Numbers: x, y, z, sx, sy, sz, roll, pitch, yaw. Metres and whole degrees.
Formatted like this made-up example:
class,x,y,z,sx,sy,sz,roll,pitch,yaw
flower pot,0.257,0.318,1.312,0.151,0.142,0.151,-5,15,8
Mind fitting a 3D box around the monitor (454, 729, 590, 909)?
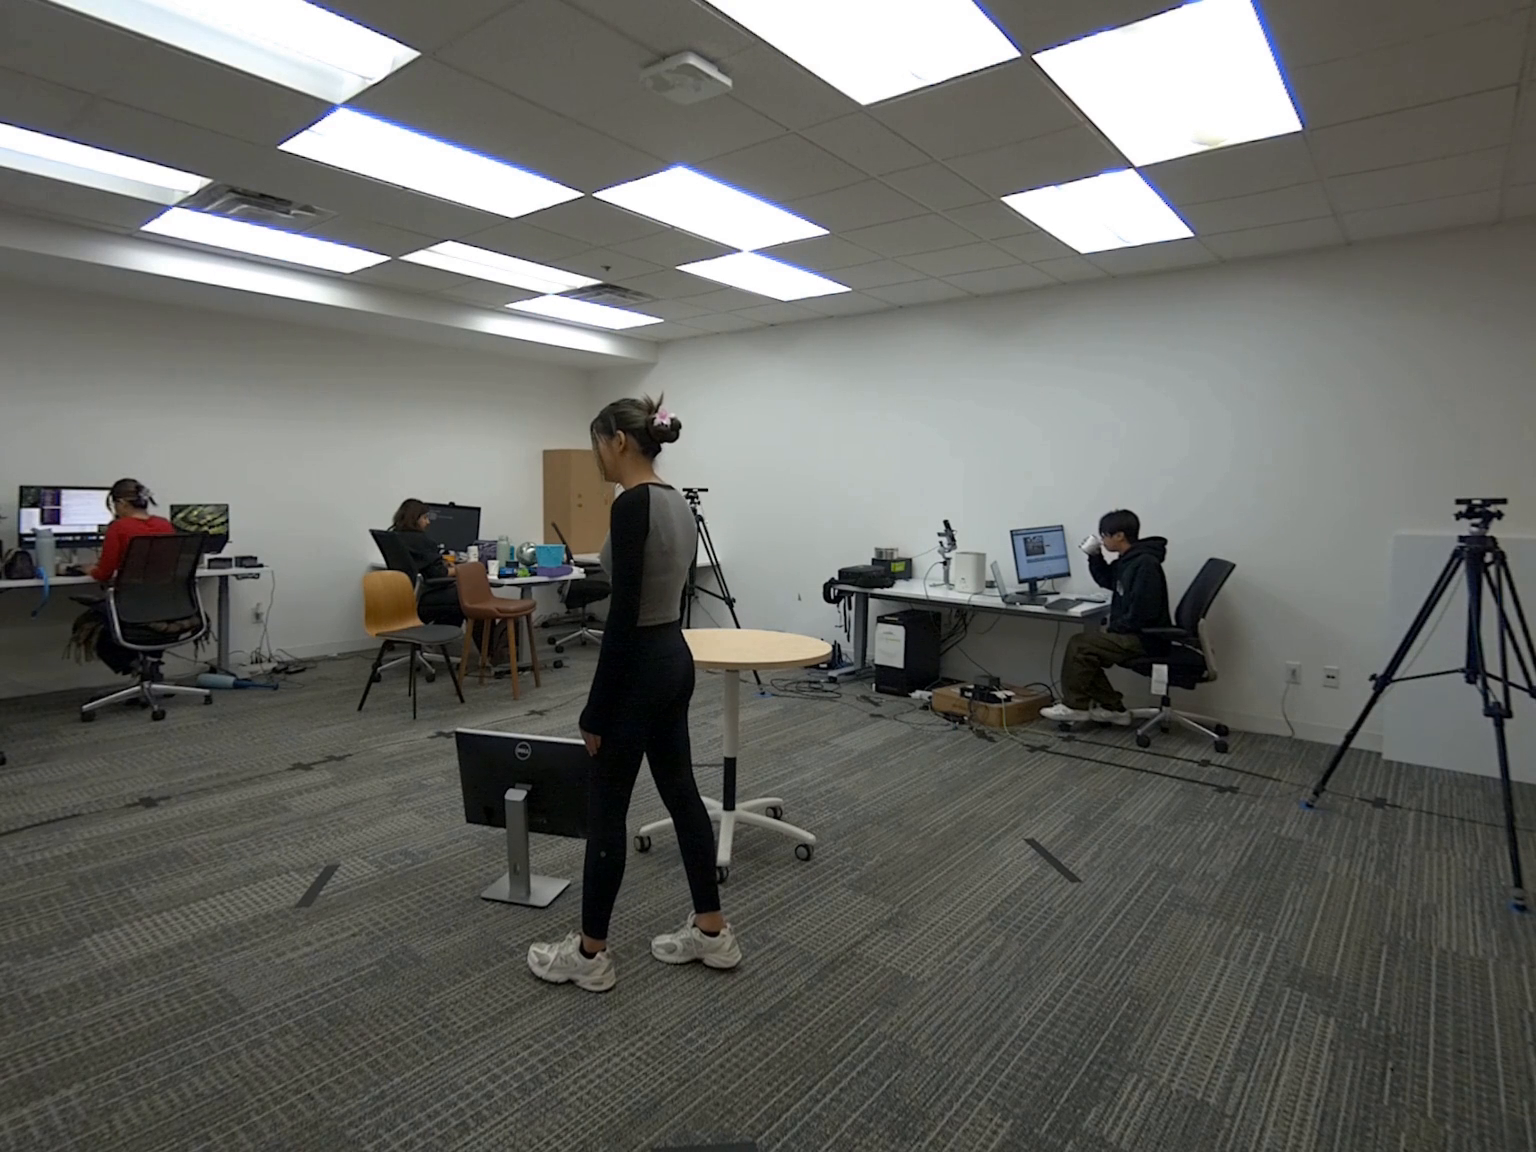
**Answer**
class,x,y,z,sx,sy,sz,roll,pitch,yaw
monitor,-0.839,0.813,2.901,0.548,0.522,0.184,1,1,15
